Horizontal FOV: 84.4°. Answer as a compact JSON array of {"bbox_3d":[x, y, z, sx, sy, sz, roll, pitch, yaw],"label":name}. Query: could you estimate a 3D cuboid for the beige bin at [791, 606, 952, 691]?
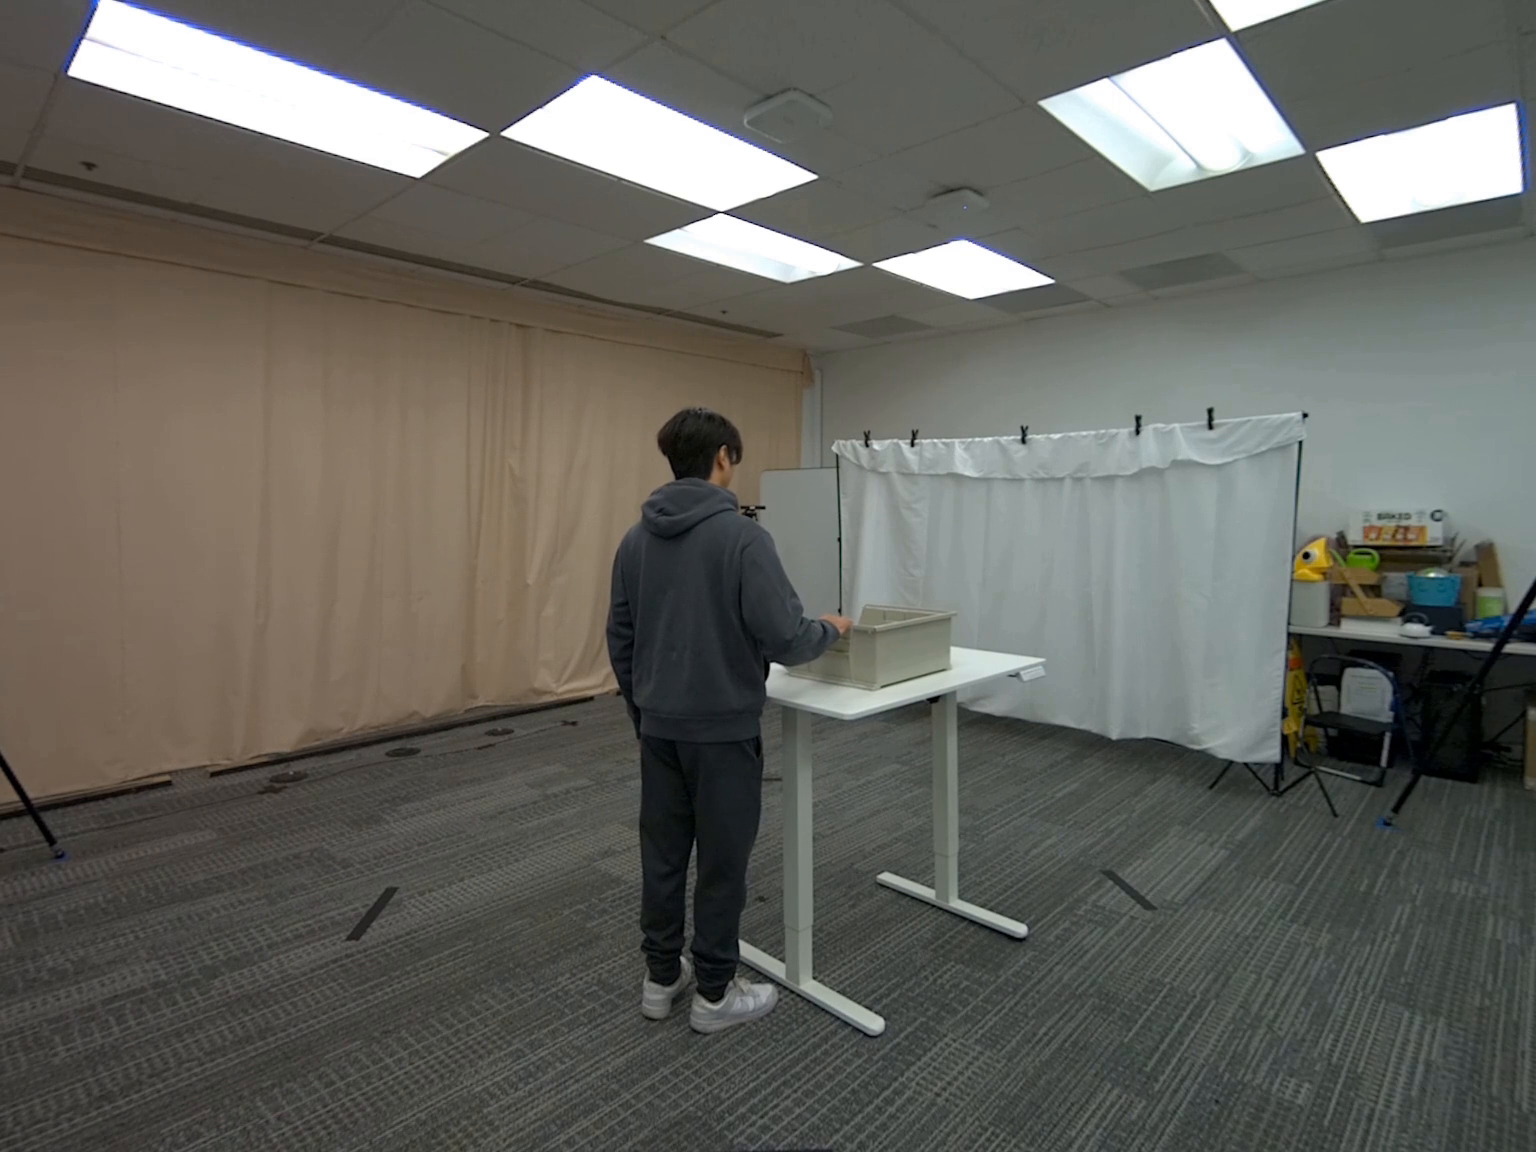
[{"bbox_3d":[0.304,0.206,2.575,0.390,0.188,0.409,5,7,44],"label":"beige bin"}]
